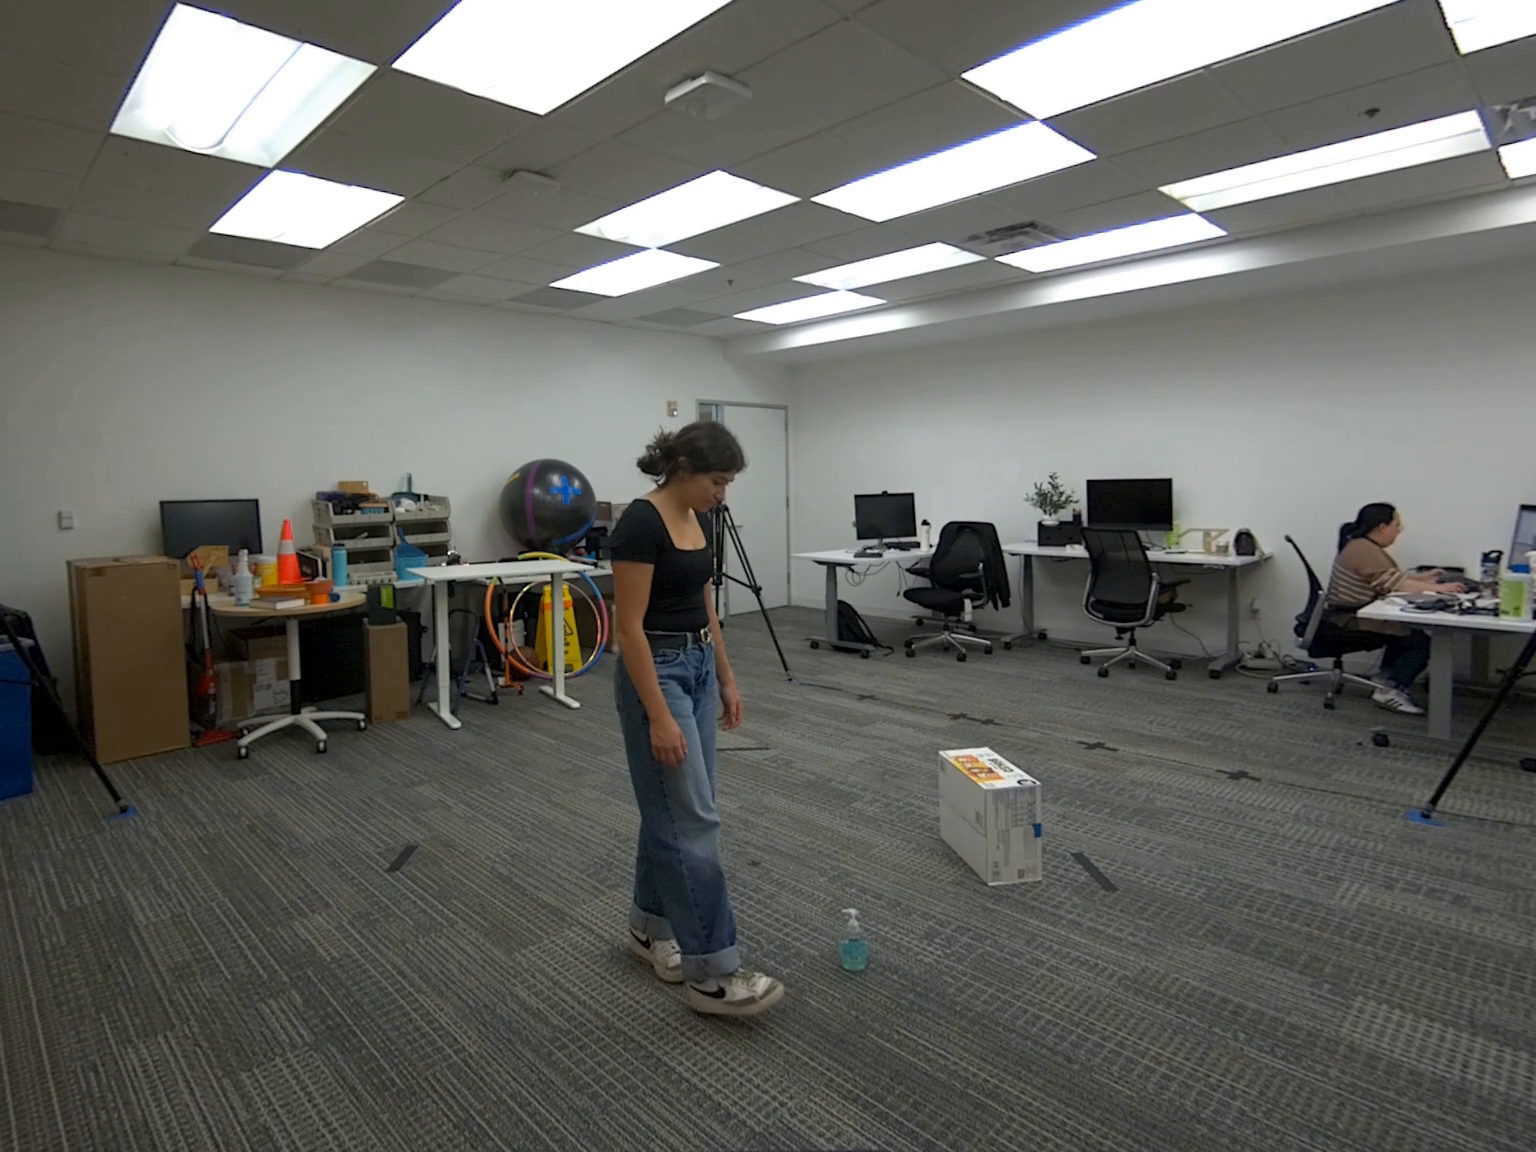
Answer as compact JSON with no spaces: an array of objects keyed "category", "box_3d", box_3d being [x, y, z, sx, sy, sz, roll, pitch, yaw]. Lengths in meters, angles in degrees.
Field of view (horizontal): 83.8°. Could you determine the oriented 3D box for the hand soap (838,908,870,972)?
[{"category":"hand soap","box_3d":[0.245,1.033,2.435,0.085,0.168,0.043,1,2,3]}]
